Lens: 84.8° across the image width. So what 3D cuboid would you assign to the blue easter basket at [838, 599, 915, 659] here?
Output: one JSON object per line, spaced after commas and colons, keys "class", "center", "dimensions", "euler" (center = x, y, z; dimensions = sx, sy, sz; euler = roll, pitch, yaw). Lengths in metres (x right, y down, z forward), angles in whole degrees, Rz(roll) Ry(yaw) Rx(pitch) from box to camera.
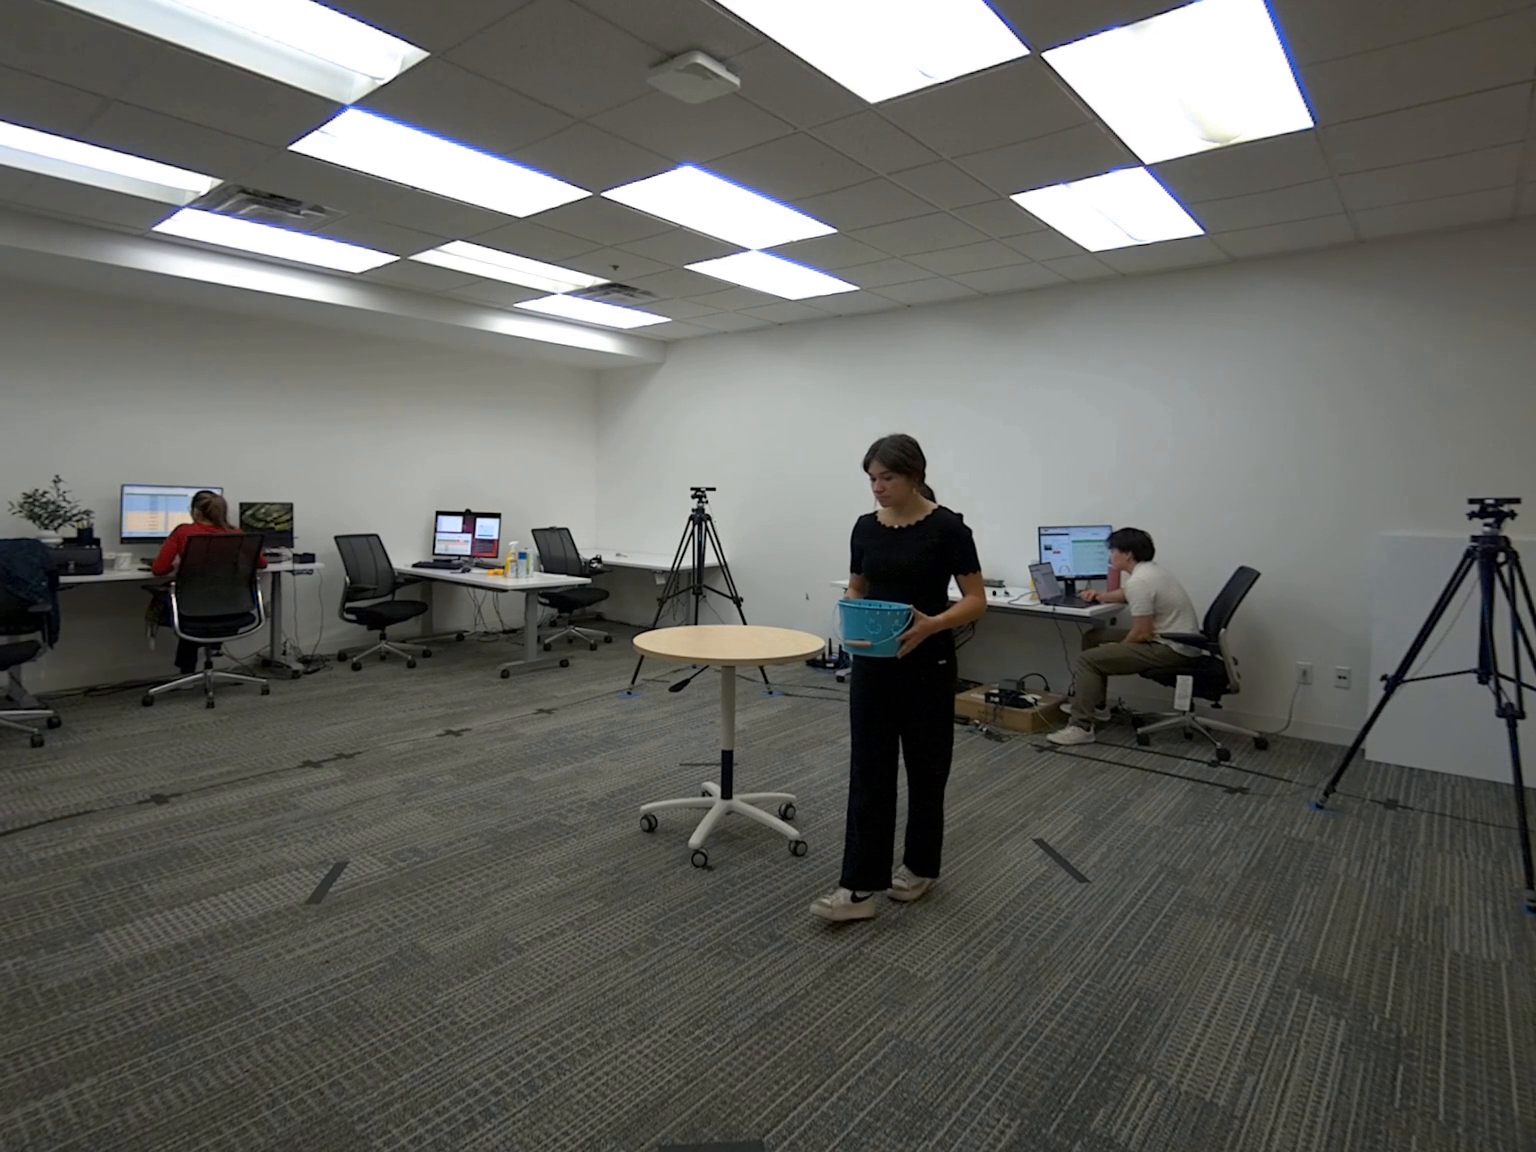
{"class": "blue easter basket", "center": [0.320, 0.158, 2.674], "dimensions": [0.243, 0.156, 0.244], "euler": [6, 2, -2]}
